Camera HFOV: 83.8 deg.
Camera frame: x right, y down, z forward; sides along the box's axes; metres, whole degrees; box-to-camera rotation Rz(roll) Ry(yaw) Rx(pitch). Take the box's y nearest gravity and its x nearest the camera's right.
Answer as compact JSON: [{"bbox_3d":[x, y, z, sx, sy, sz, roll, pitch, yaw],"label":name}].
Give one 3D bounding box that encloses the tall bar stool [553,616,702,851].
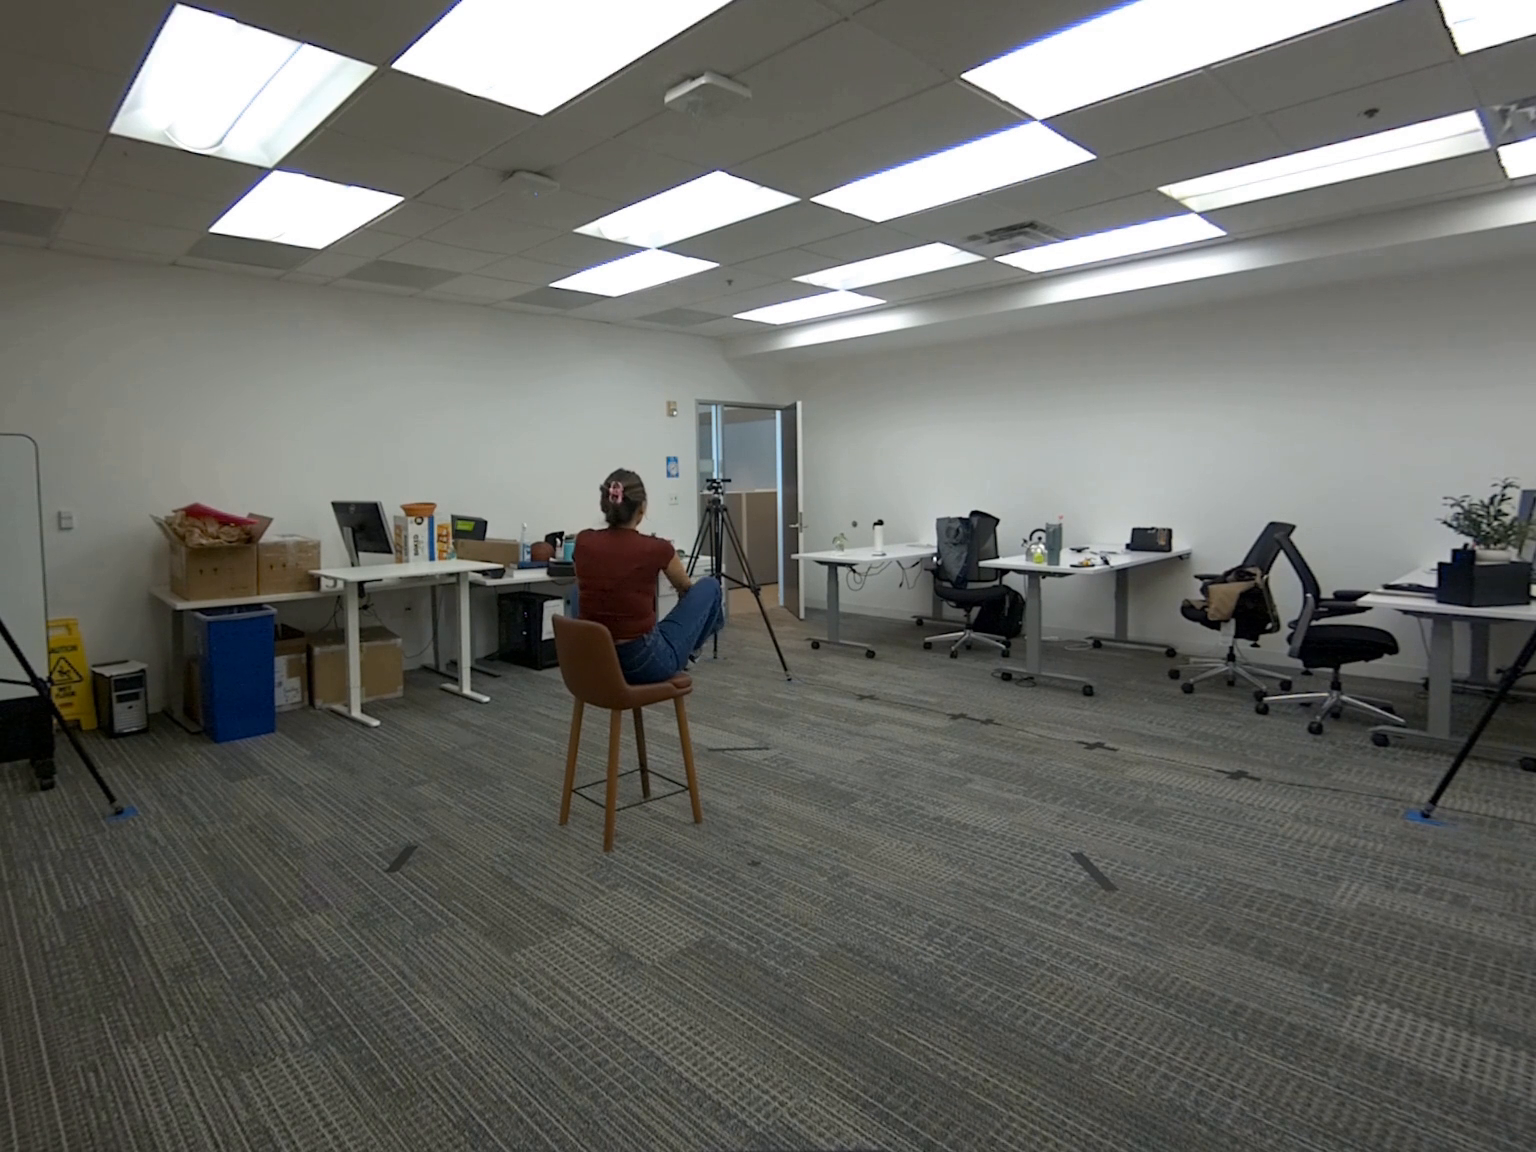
[{"bbox_3d":[-0.588,0.580,3.476,0.456,0.886,0.470,-7,6,-40],"label":"tall bar stool"}]
